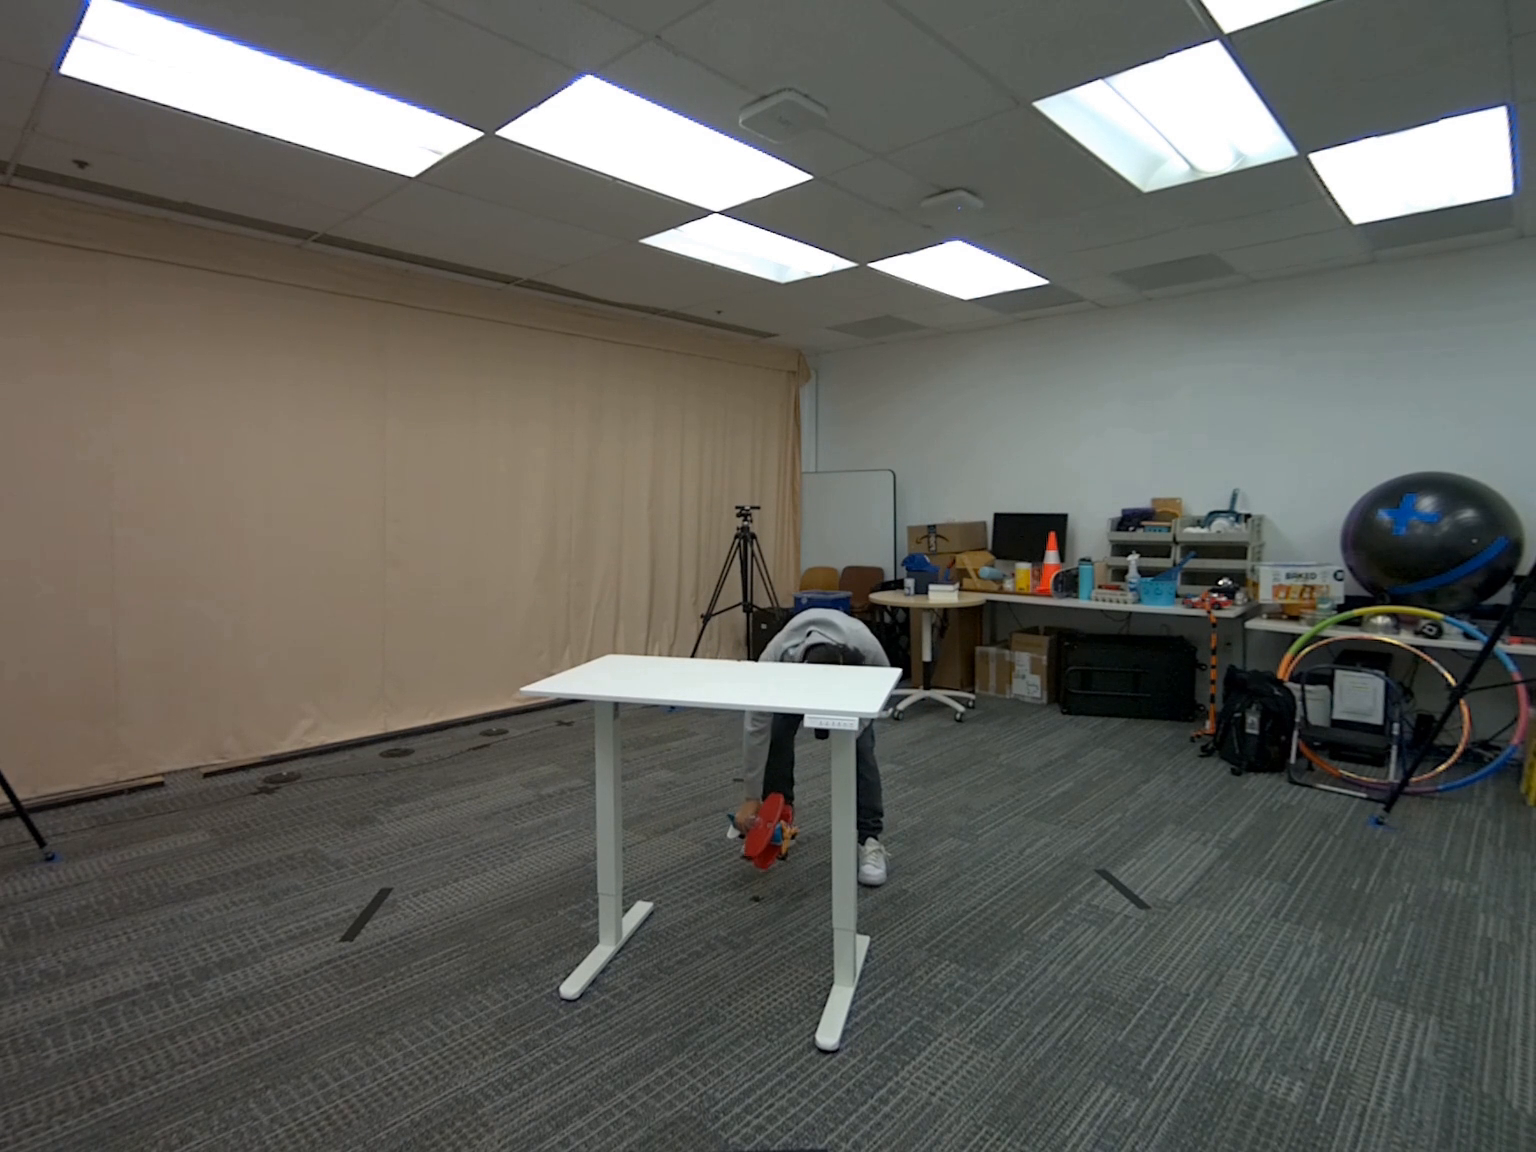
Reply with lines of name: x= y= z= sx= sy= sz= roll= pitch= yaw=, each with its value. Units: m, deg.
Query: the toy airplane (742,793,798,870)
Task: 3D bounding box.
toy airplane: x=-0.028 y=0.938 z=3.082 sx=0.261 sy=0.152 sz=0.256 roll=-12 pitch=43 yaw=7
